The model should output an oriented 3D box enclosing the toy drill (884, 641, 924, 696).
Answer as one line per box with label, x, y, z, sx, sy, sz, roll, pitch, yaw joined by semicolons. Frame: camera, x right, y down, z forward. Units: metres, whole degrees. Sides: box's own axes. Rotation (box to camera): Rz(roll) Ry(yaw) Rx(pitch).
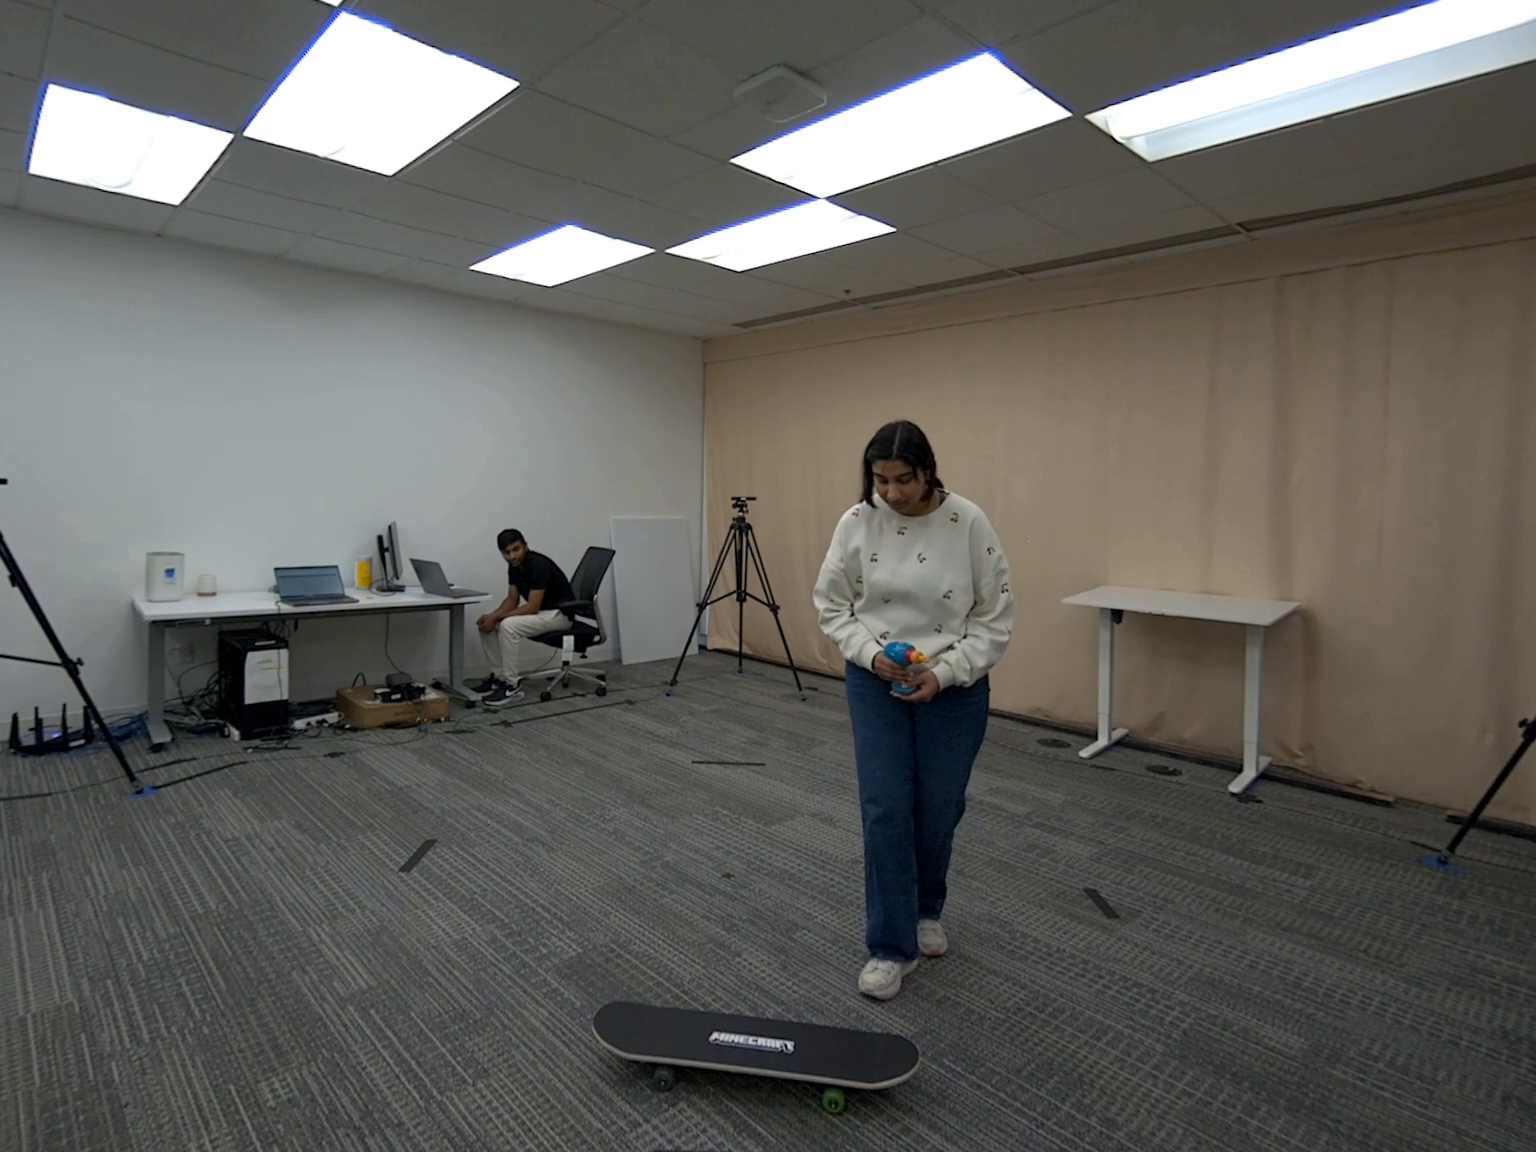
toy drill;0.367;0.251;2.276;0.060;0.144;0.174;-20;14;-27
